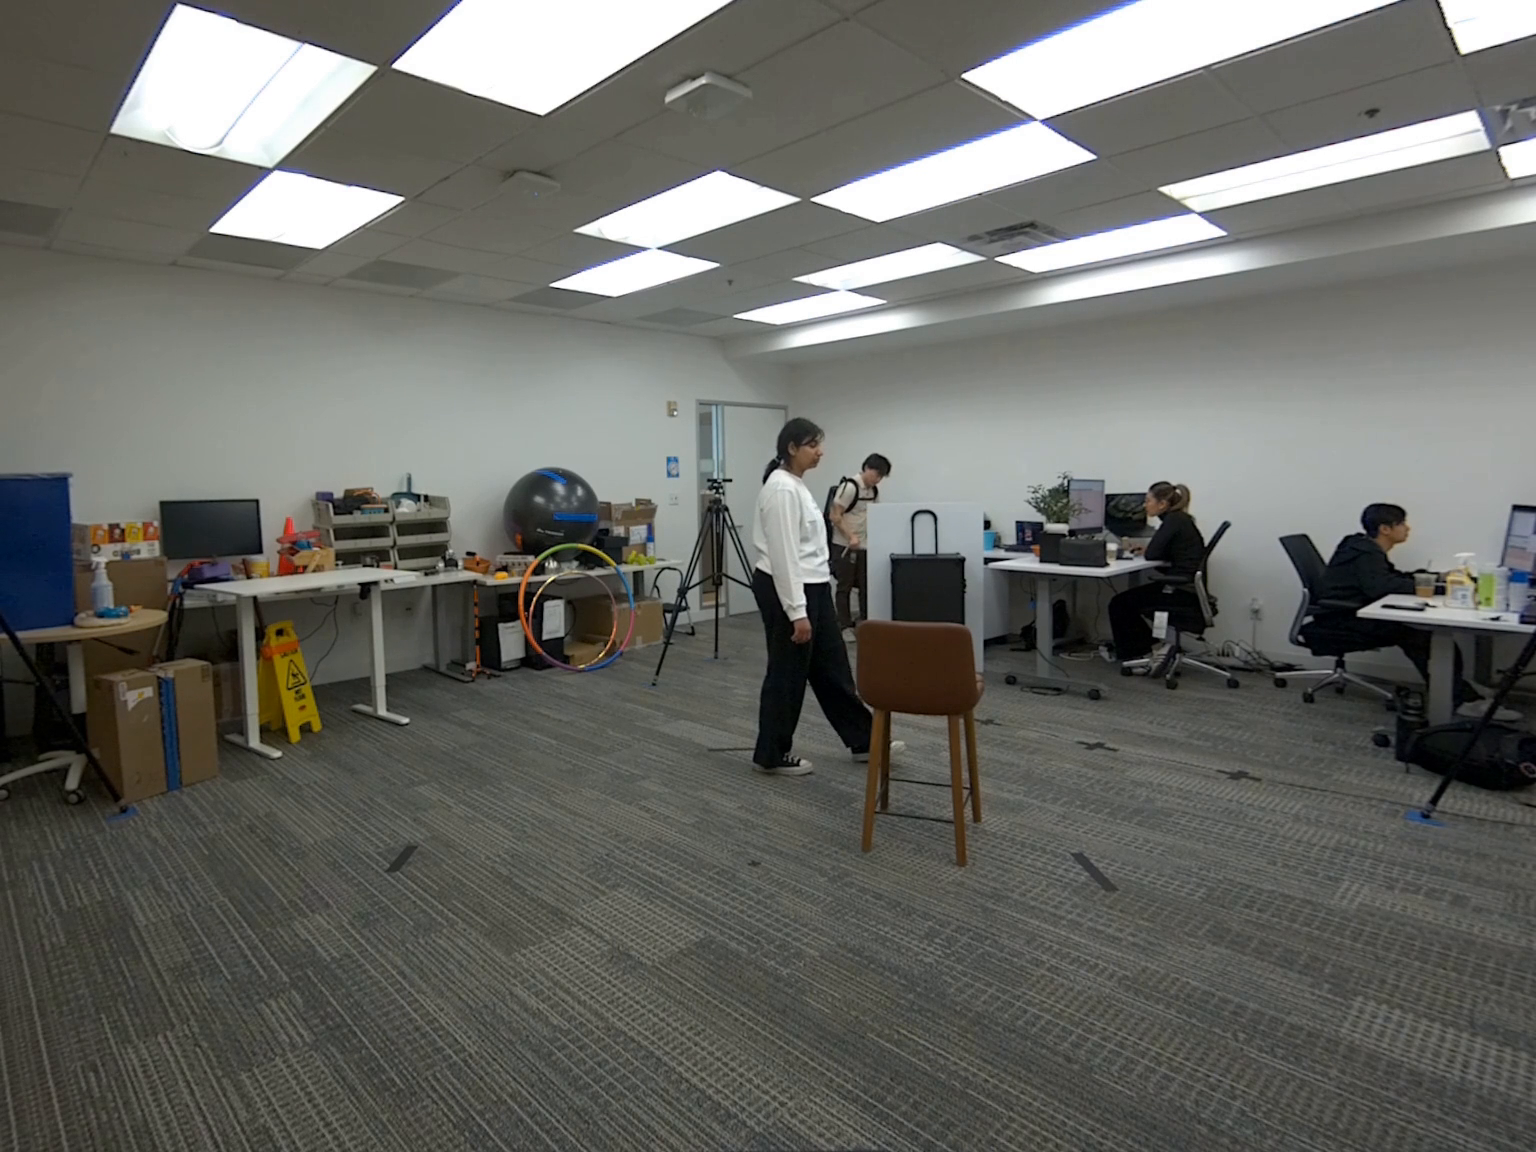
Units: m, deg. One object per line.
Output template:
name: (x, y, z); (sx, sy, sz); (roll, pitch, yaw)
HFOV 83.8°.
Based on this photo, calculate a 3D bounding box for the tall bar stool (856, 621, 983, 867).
tall bar stool: (0.593, 0.577, 3.303); (0.466, 0.886, 0.460); (0, 5, 22)
